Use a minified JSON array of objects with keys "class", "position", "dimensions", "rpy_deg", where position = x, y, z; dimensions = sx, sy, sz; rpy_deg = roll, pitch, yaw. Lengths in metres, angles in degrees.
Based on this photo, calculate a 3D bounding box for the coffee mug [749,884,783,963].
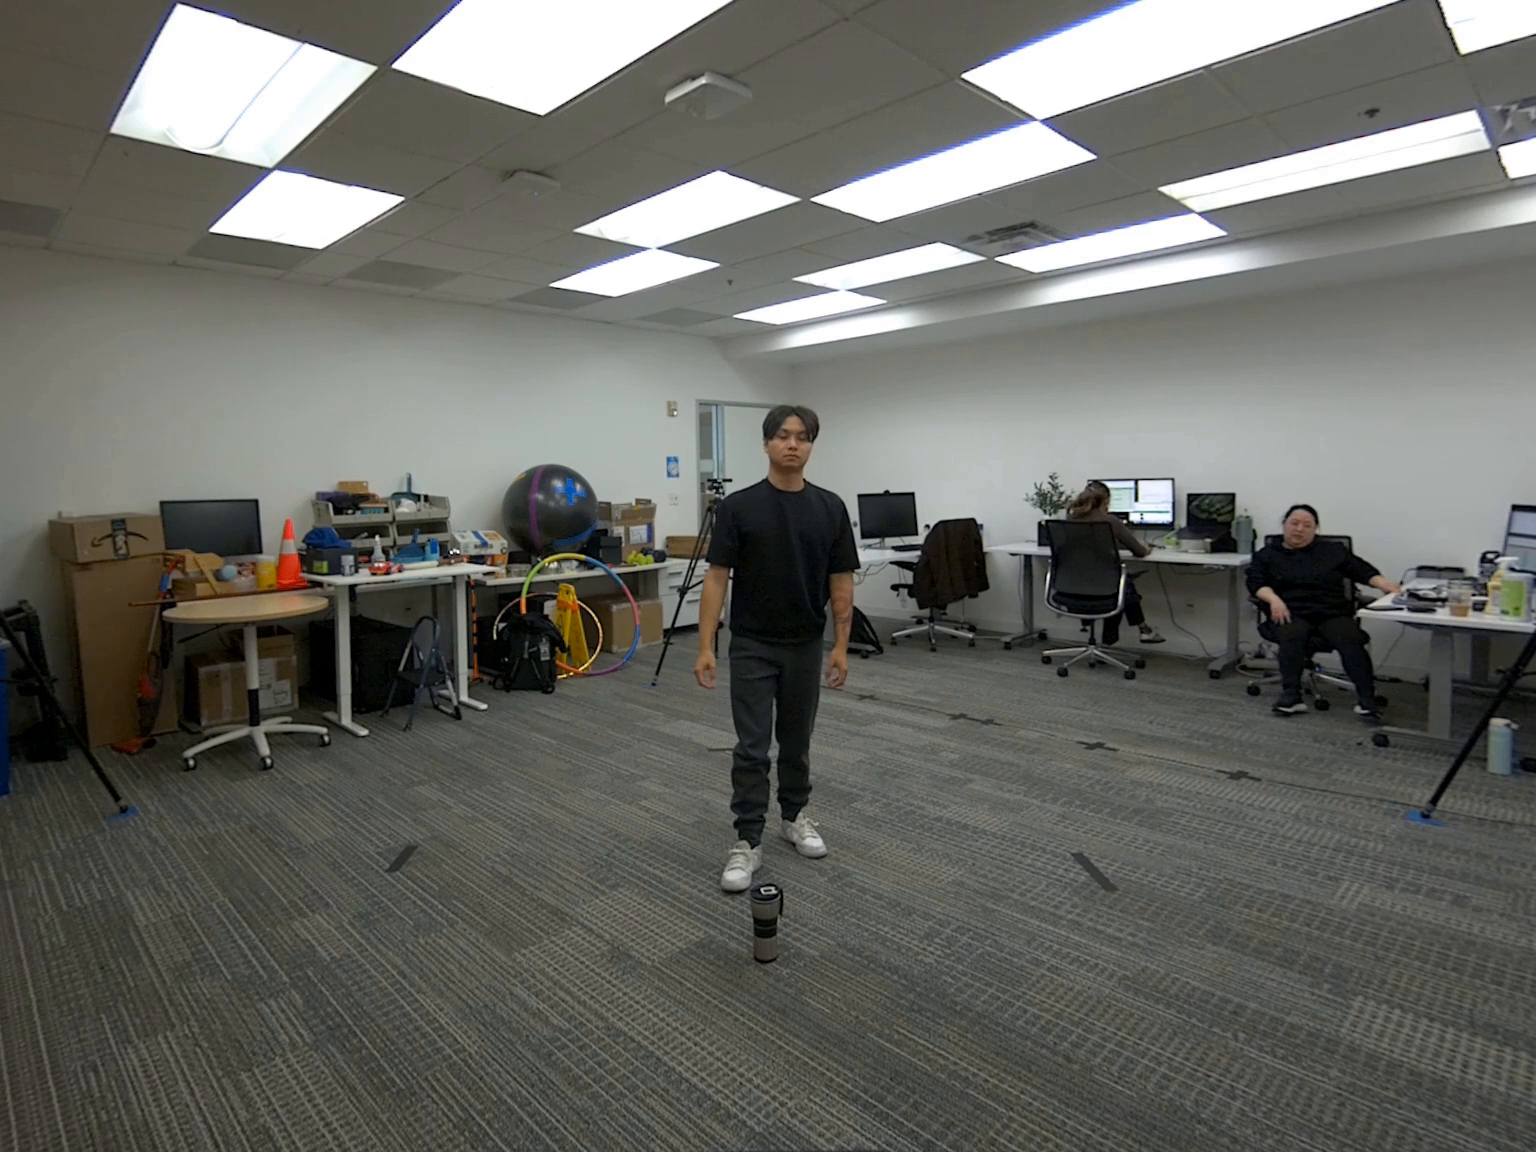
[{"class":"coffee mug","position":[0.014,1.021,2.503],"dimensions":[0.090,0.202,0.119],"rpy_deg":[-4,4,43]}]
